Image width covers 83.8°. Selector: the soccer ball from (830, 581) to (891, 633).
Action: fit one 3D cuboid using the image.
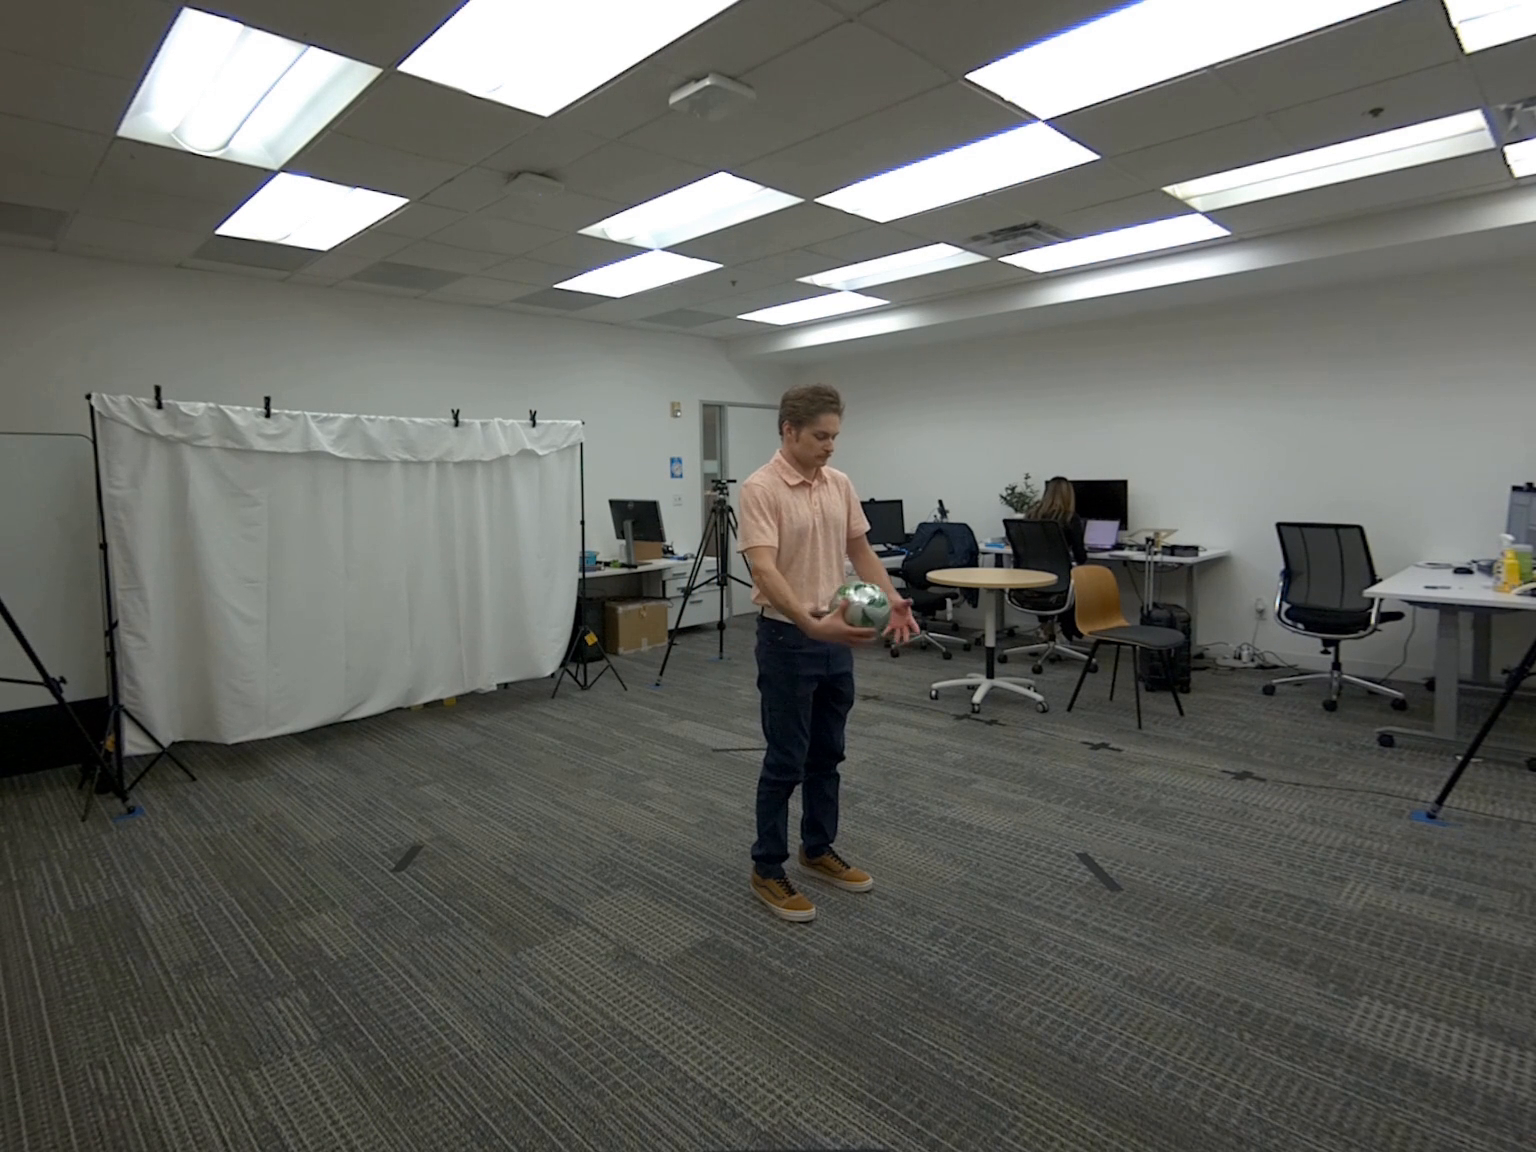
[{"bbox_3d":[0.254,0.119,2.577,0.187,0.187,0.188,-1,5,-2],"label":"soccer ball"}]
